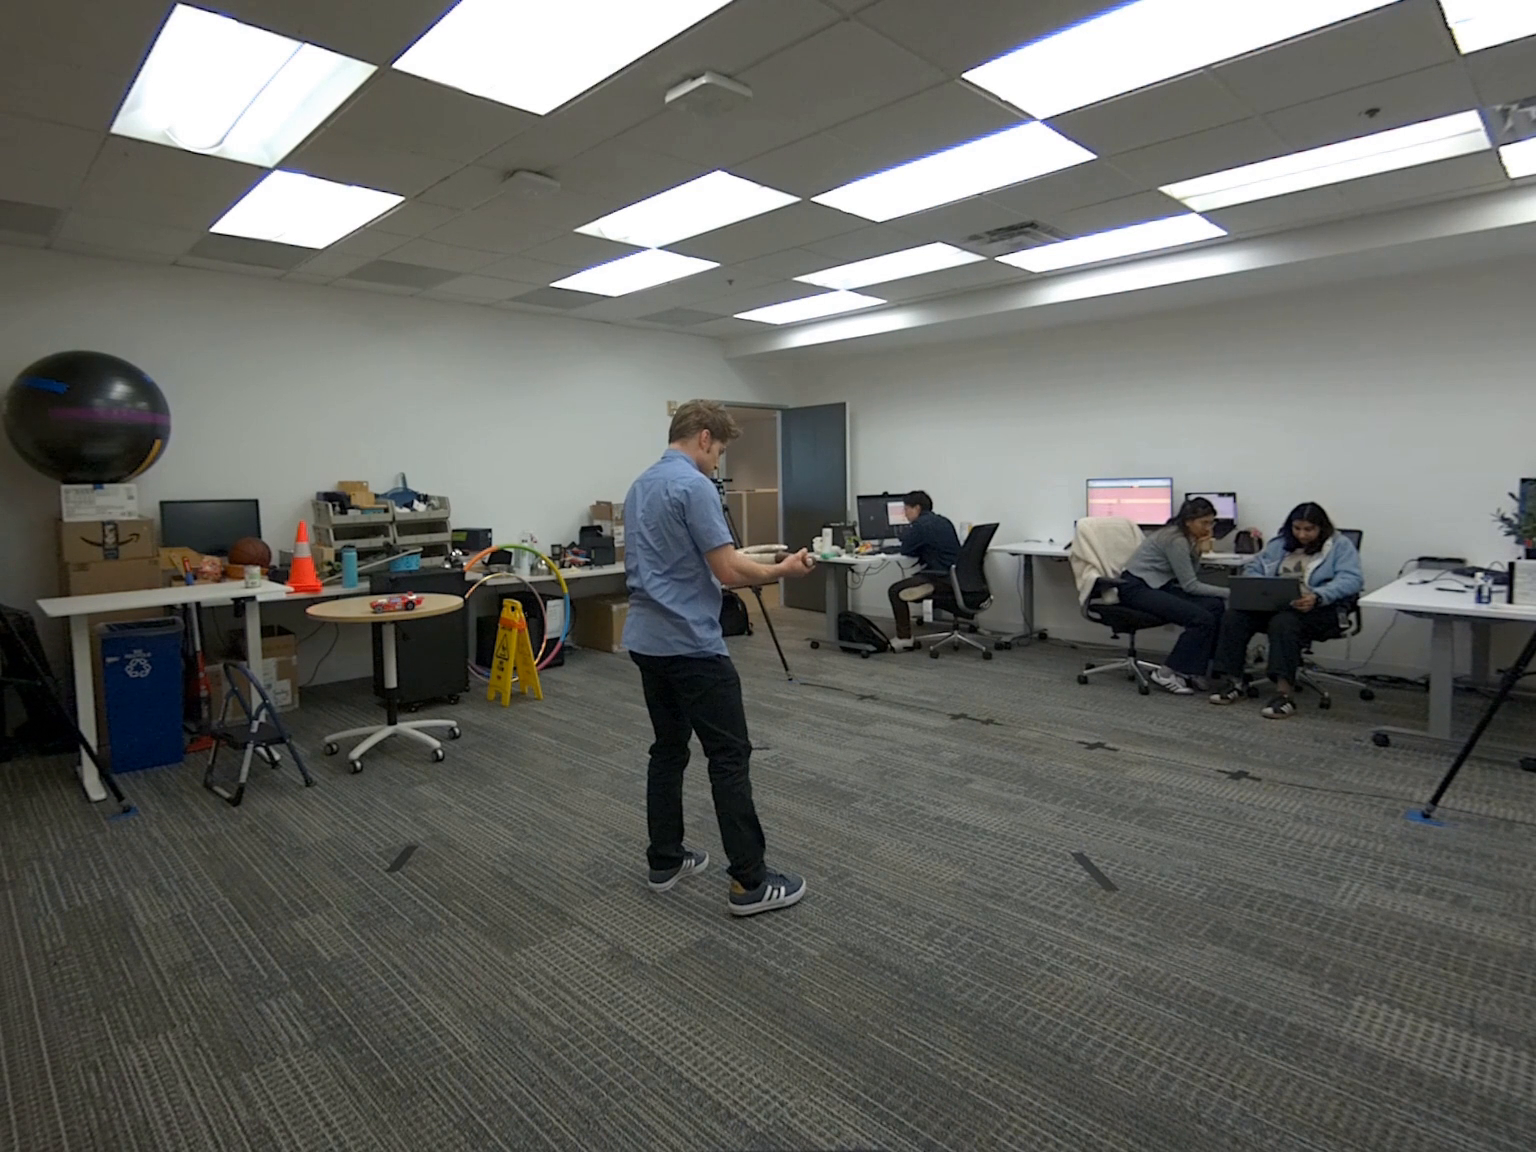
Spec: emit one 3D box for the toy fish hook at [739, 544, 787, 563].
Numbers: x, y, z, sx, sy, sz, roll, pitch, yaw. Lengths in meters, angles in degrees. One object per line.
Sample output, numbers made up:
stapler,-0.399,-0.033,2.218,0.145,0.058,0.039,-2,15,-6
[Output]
toy fish hook,0.021,-0.068,3.131,0.521,0.048,0.221,0,19,46
